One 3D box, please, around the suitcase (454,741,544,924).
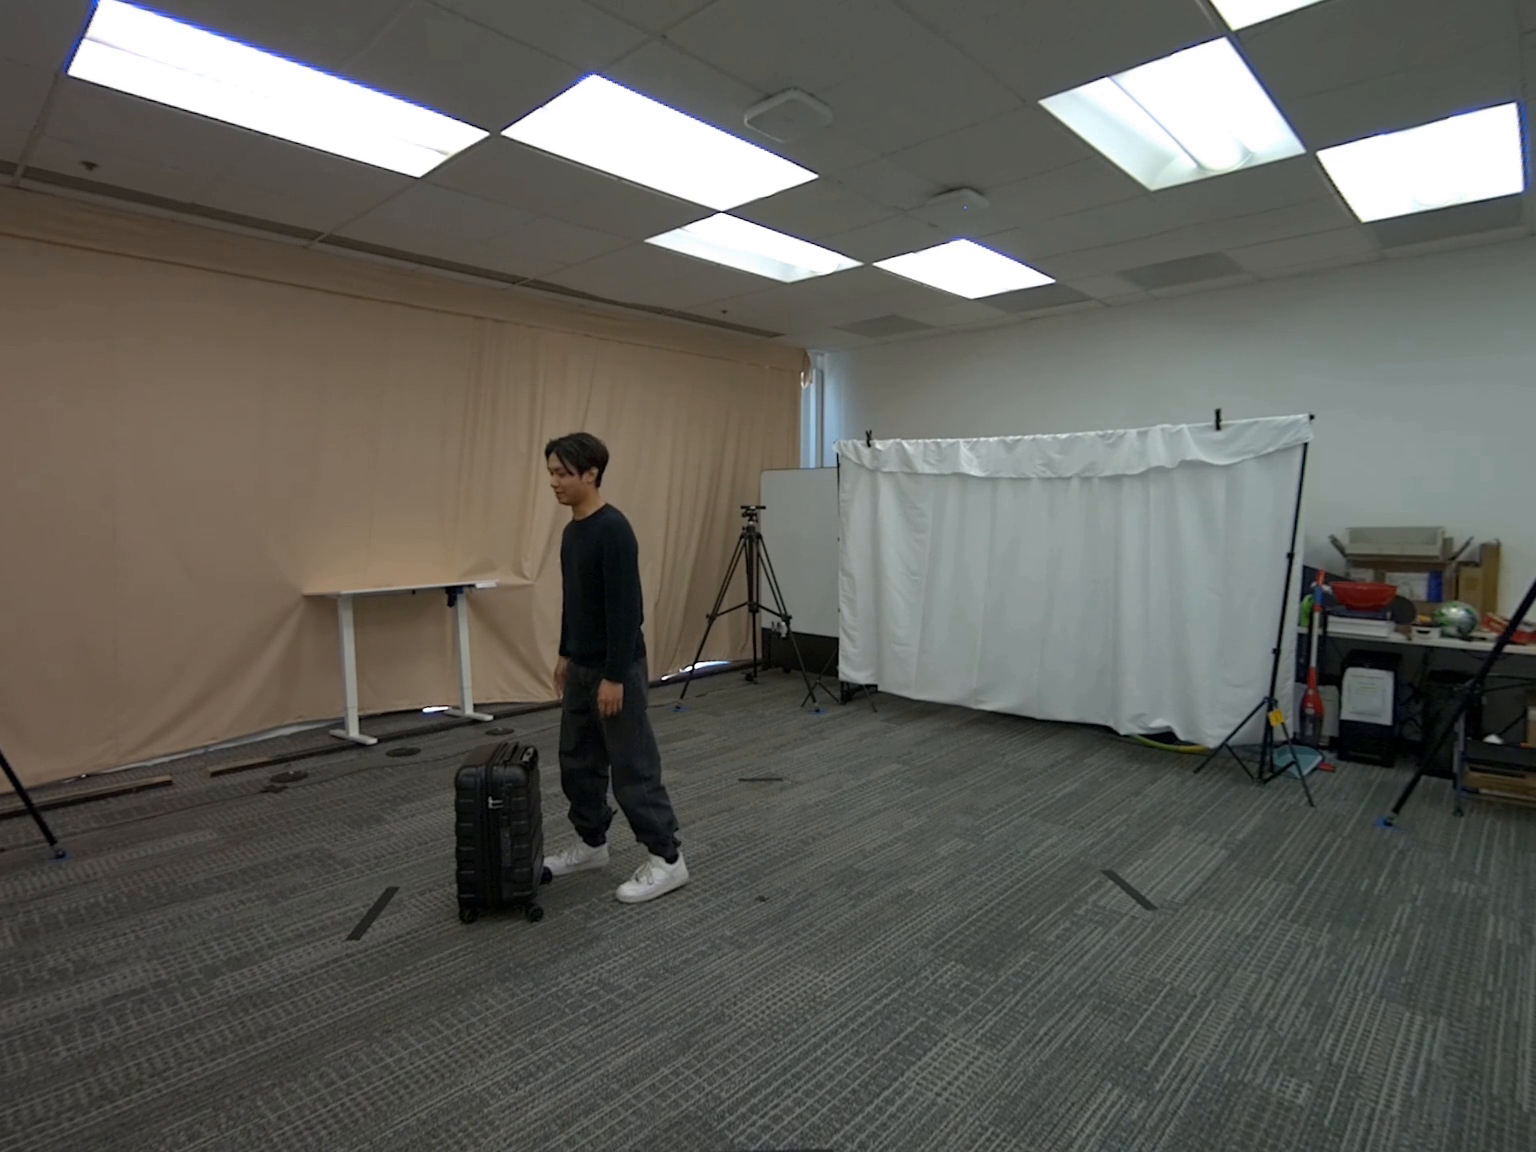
[{"bbox_3d":[-0.942,0.878,2.954,0.247,0.548,0.378,-1,4,-5],"label":"suitcase"}]
